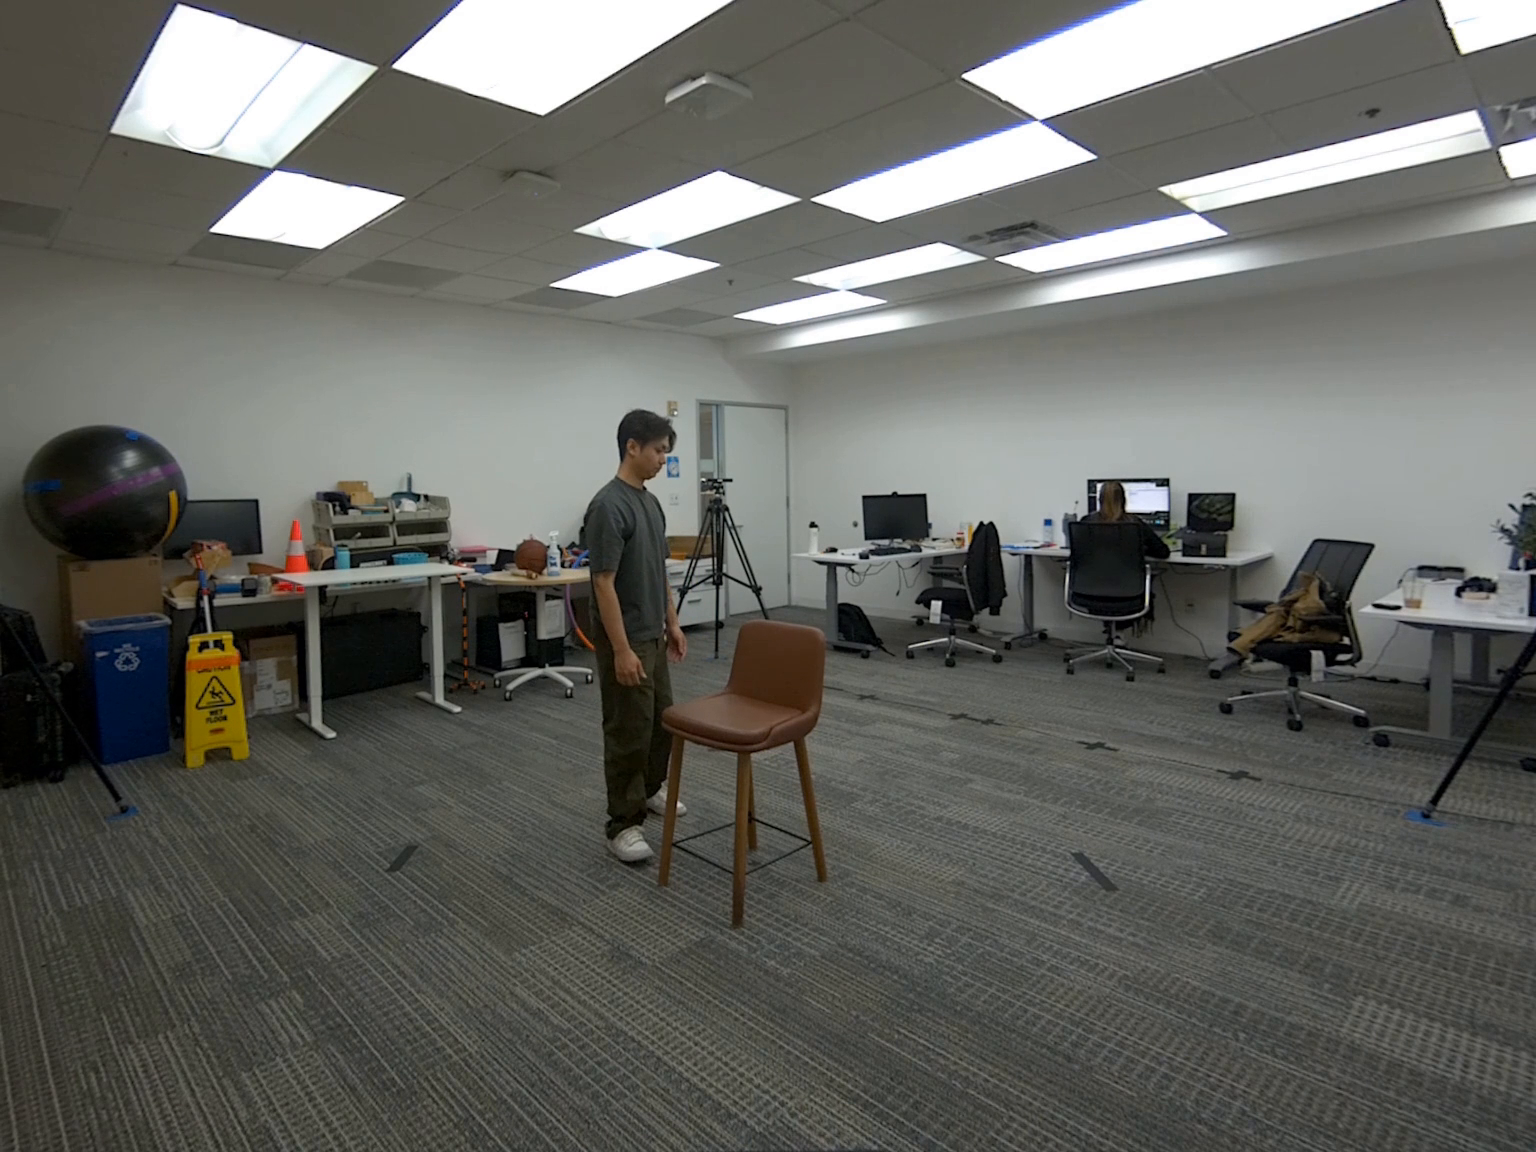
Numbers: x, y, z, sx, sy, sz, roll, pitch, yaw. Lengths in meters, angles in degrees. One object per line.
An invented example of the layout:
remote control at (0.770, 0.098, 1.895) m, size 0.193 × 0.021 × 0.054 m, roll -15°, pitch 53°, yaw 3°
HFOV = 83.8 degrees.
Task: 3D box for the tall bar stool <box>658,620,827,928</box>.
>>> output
tall bar stool at (-0.080, 0.628, 2.928) m, size 0.455 × 0.887 × 0.471 m, roll -3°, pitch 5°, yaw -44°
